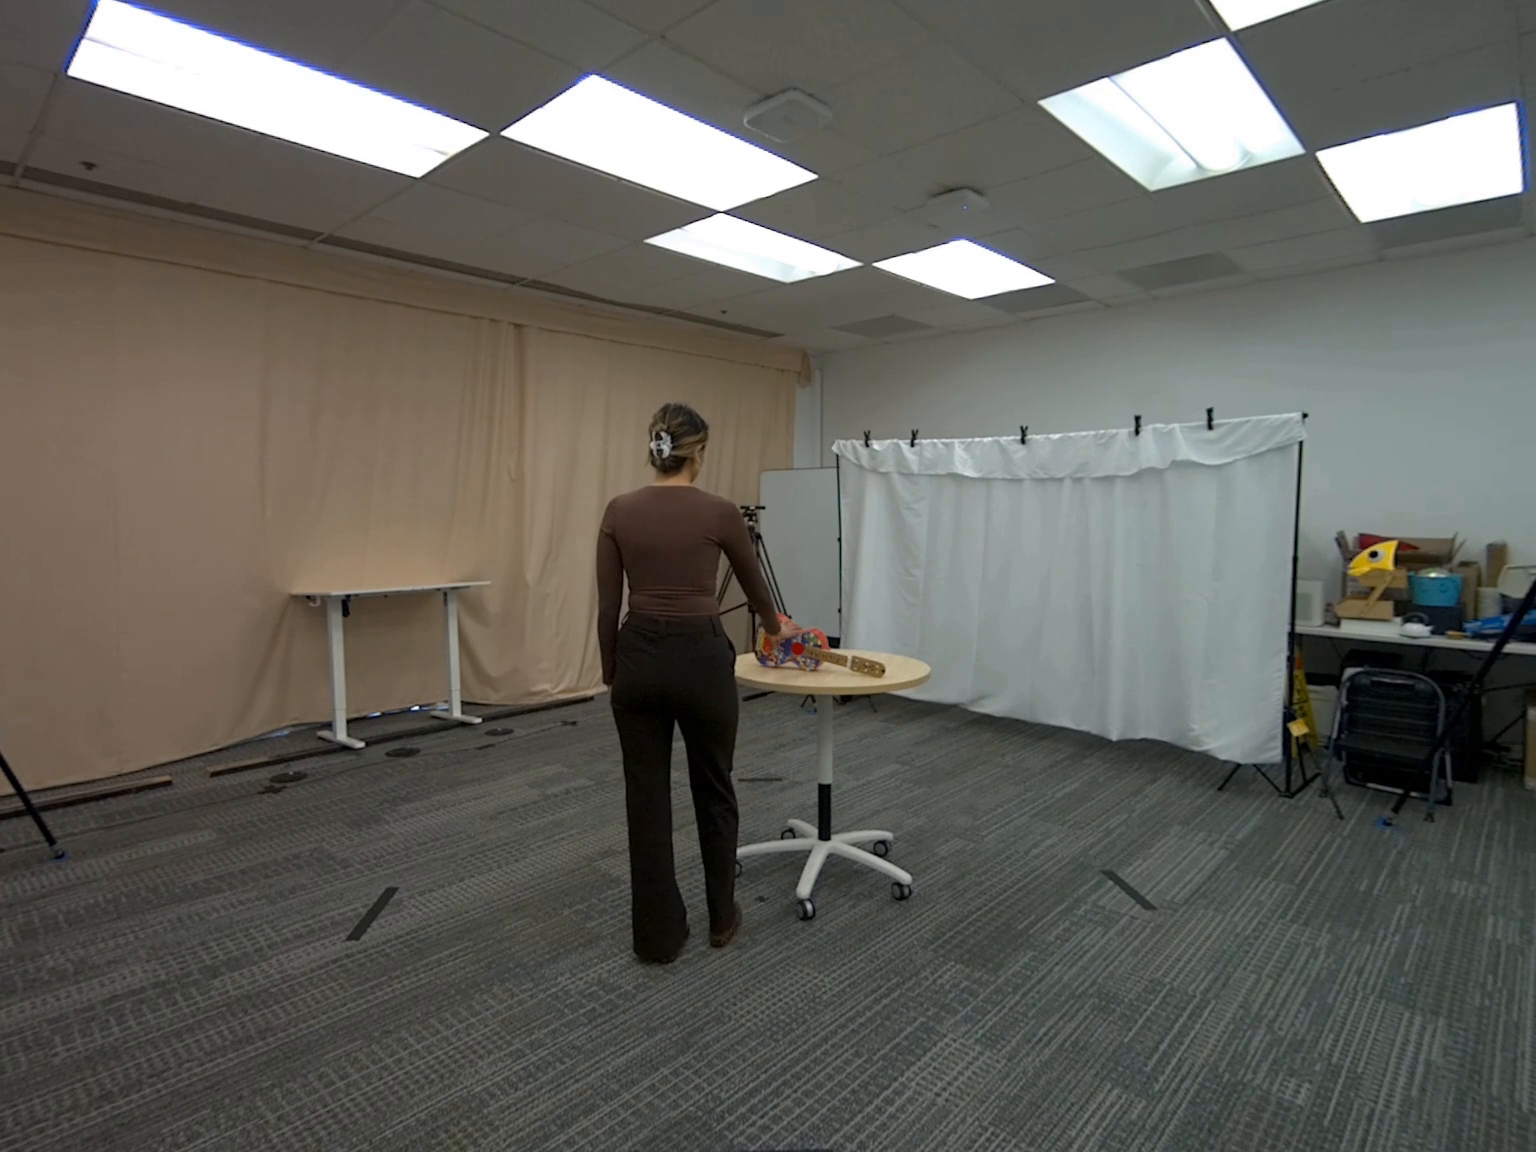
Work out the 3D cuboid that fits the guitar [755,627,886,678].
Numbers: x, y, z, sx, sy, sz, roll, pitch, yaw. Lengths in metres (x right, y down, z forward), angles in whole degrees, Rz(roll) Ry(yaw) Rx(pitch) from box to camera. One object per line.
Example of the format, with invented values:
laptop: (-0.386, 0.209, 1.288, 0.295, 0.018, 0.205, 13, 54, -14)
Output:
guitar: (0.183, 0.301, 3.025, 0.511, 0.192, 0.069, 21, 12, 23)
